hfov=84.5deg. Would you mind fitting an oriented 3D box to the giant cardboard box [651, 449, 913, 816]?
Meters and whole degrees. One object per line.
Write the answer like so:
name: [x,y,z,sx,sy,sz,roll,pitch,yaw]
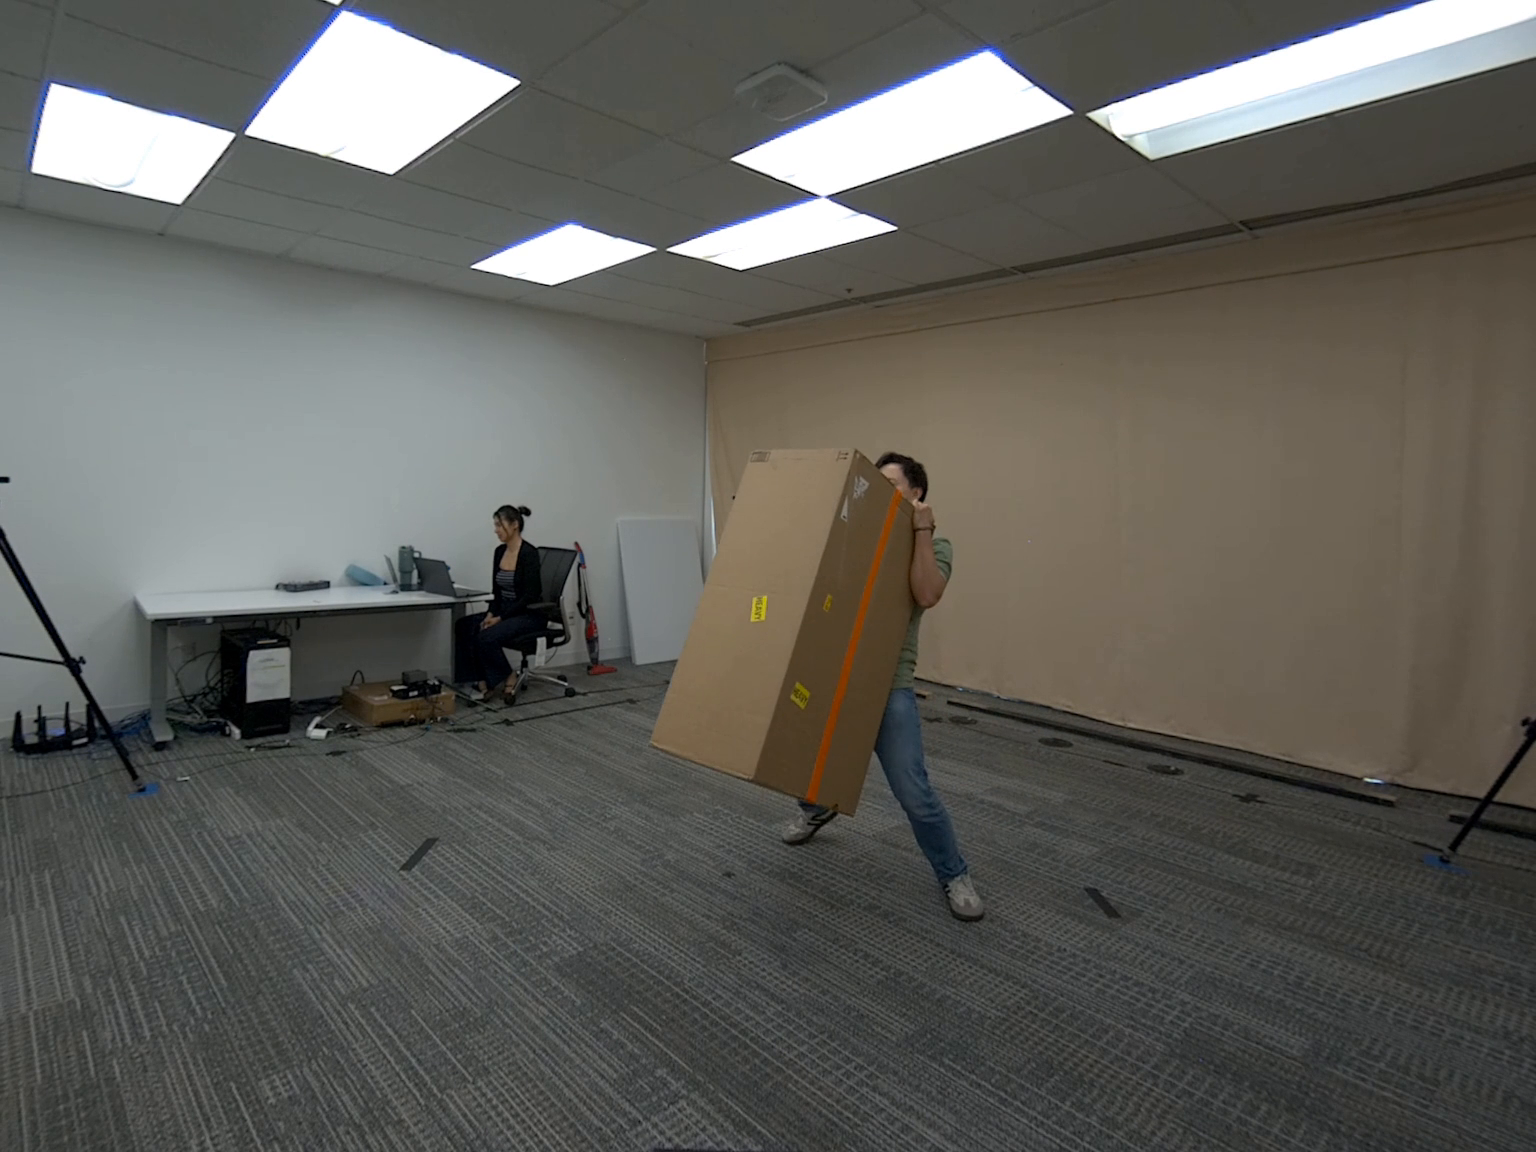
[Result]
giant cardboard box: [0.097,0.184,2.745,0.437,1.032,0.559,5,-19,41]
